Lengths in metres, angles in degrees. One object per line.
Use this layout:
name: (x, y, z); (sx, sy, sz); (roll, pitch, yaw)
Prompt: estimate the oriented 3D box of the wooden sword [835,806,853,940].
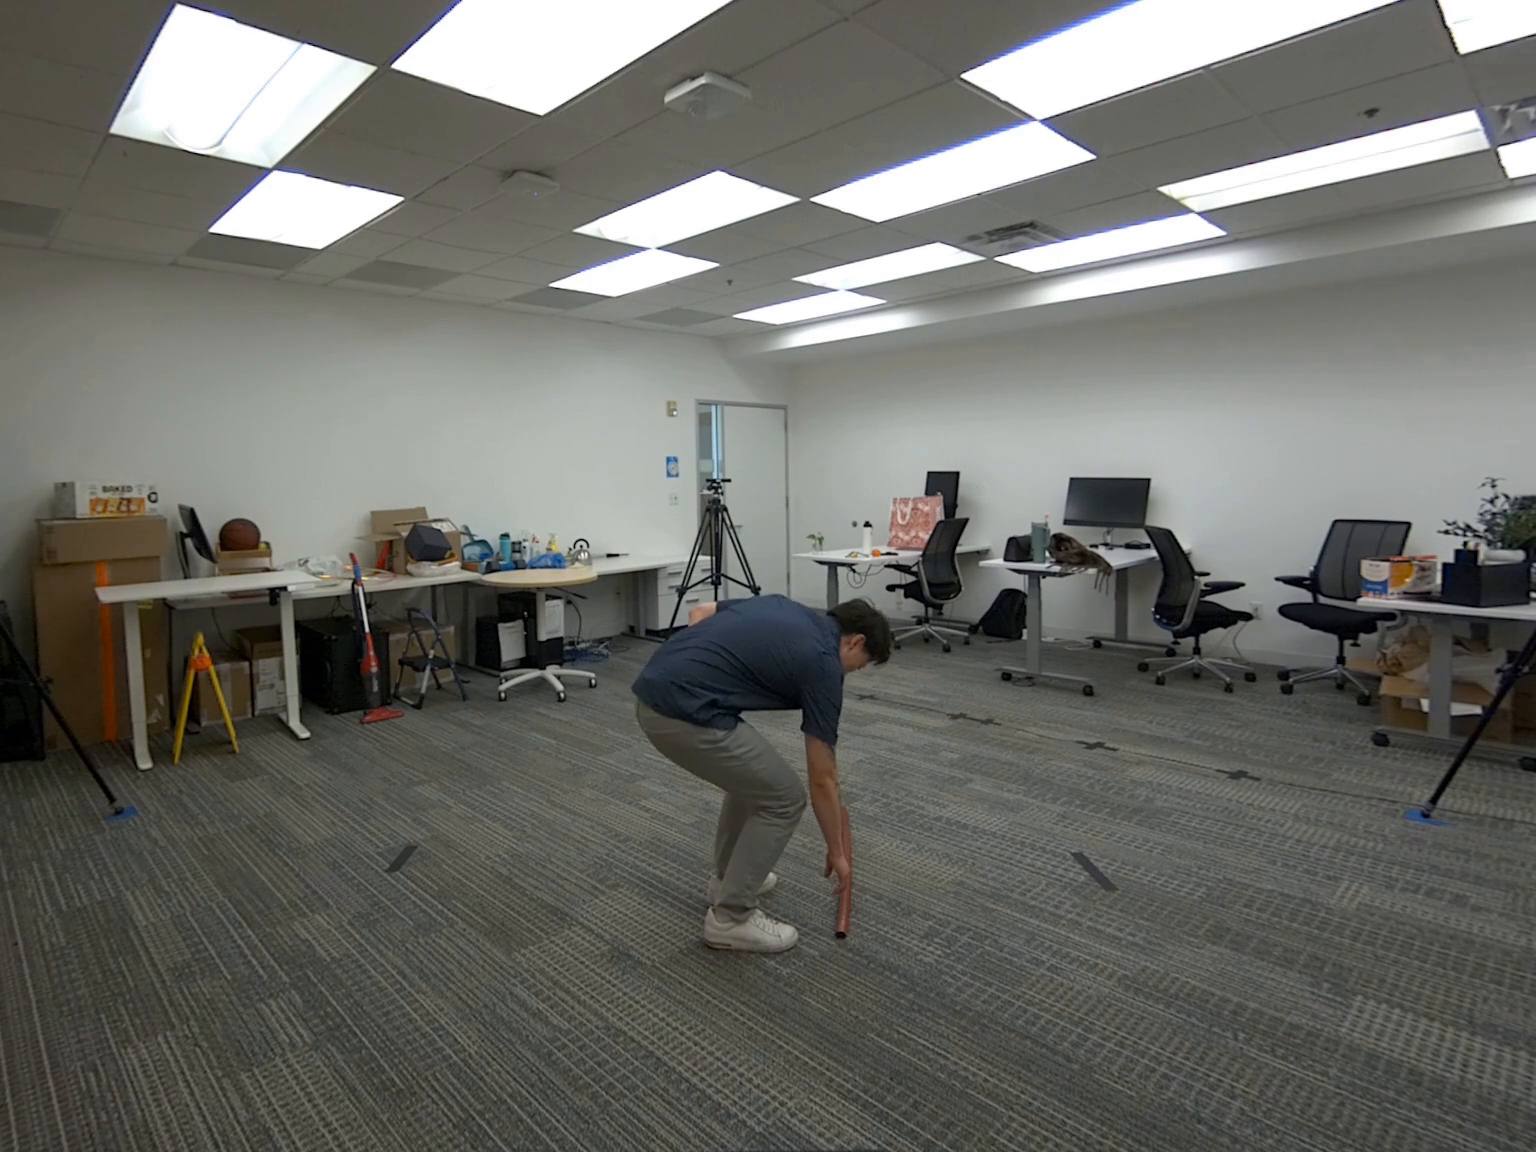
wooden sword: (0.270, 1.011, 3.096); (0.051, 0.024, 1.023); (0, 6, 5)
